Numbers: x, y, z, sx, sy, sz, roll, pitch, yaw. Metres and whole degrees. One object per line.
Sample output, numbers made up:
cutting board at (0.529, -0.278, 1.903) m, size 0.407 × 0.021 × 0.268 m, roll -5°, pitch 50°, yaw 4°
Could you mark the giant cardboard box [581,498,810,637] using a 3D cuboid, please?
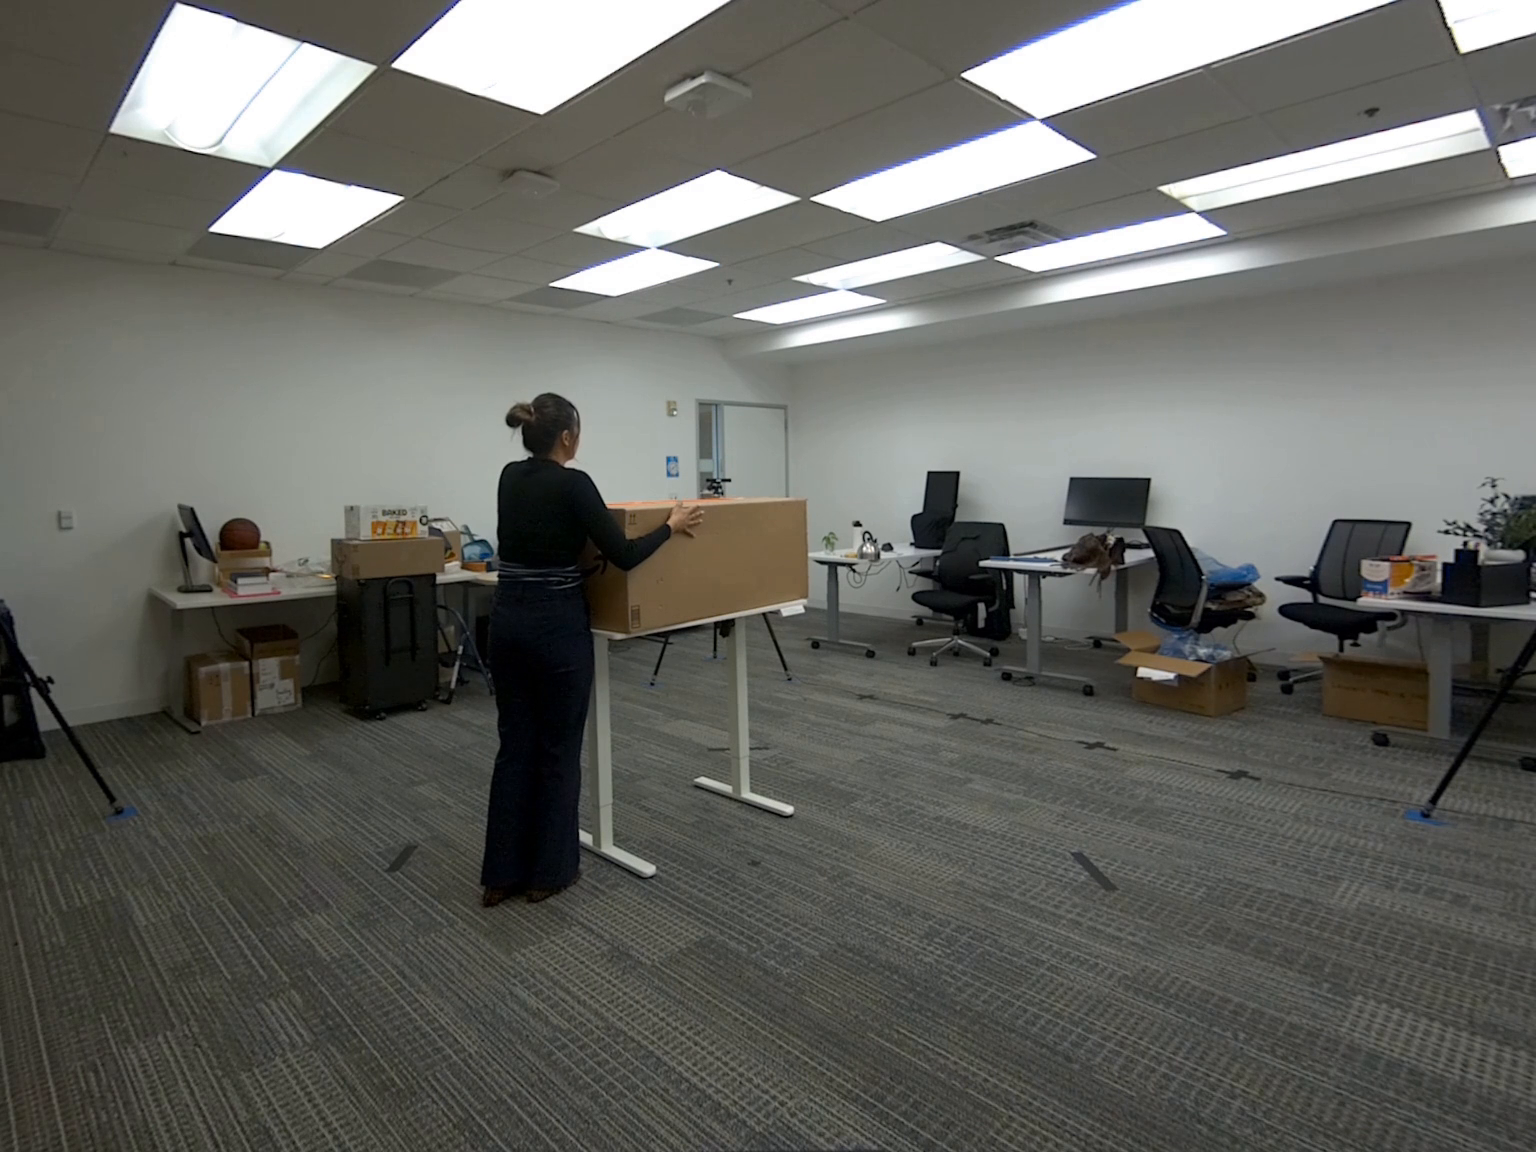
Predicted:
giant cardboard box at (-0.368, -0.074, 3.418) m, size 0.595 × 0.424 × 1.000 m, roll 3°, pitch 8°, yaw 40°
